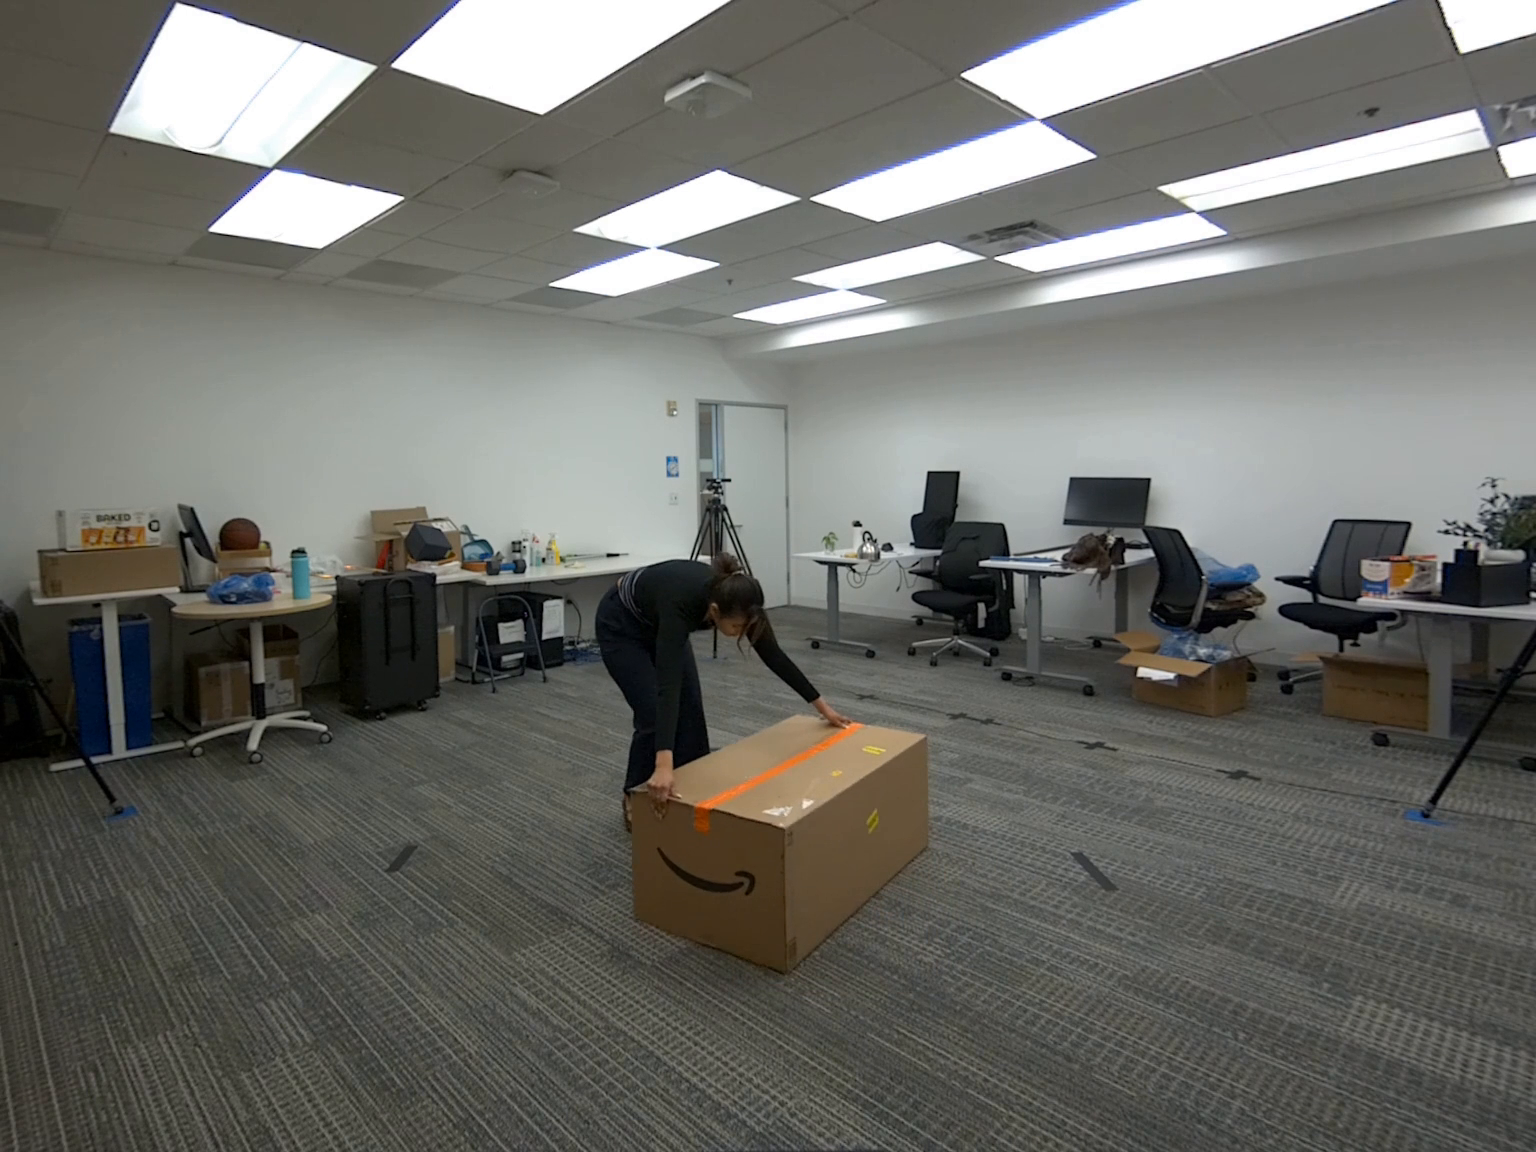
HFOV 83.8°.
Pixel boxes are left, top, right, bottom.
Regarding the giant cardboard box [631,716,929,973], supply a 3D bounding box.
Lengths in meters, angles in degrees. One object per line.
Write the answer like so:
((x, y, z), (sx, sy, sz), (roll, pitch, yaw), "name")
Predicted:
((0.083, 0.845, 2.960), (0.594, 0.424, 1.002), (3, 7, 34), "giant cardboard box")
